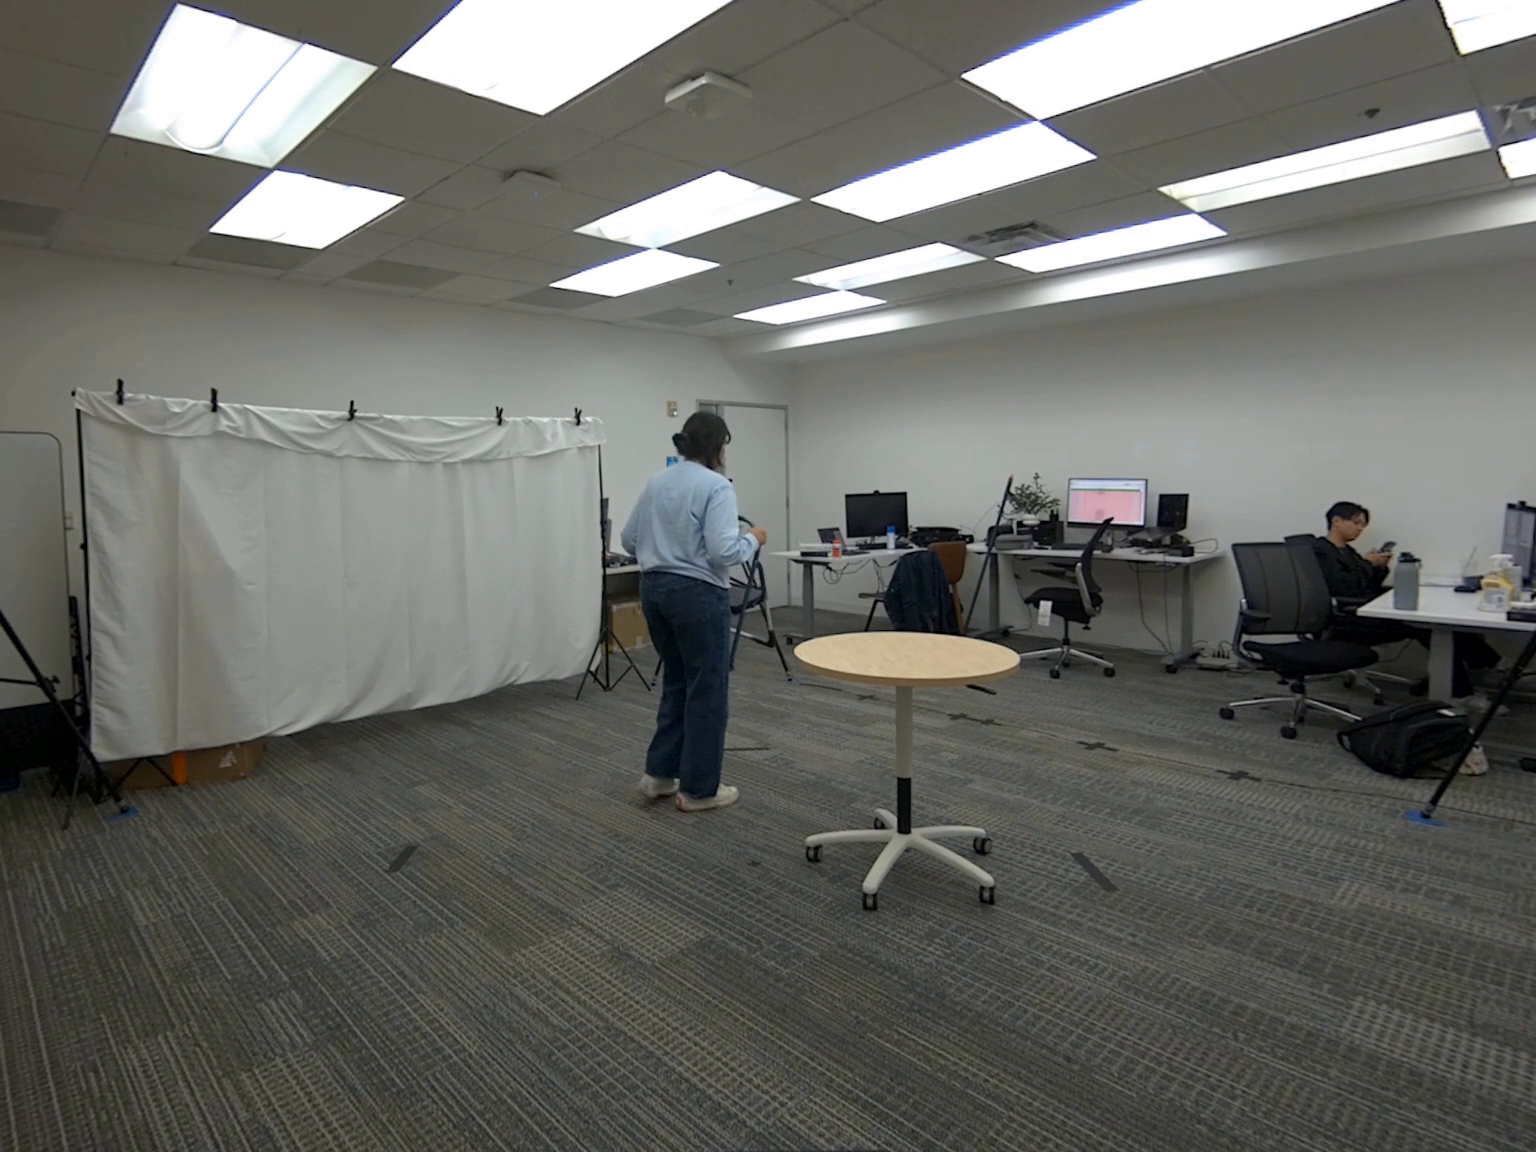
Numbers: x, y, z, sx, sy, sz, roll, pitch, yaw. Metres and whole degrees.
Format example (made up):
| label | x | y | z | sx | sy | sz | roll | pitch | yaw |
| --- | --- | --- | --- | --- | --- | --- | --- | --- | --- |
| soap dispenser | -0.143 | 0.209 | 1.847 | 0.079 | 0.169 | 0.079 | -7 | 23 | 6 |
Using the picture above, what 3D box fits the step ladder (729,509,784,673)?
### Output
| label | x | y | z | sx | sy | sz | roll | pitch | yaw |
| --- | --- | --- | --- | --- | --- | --- | --- | --- | --- |
| step ladder | -0.220 | 0.032 | 3.795 | 0.445 | 0.598 | 0.343 | 13 | 20 | 35 |
